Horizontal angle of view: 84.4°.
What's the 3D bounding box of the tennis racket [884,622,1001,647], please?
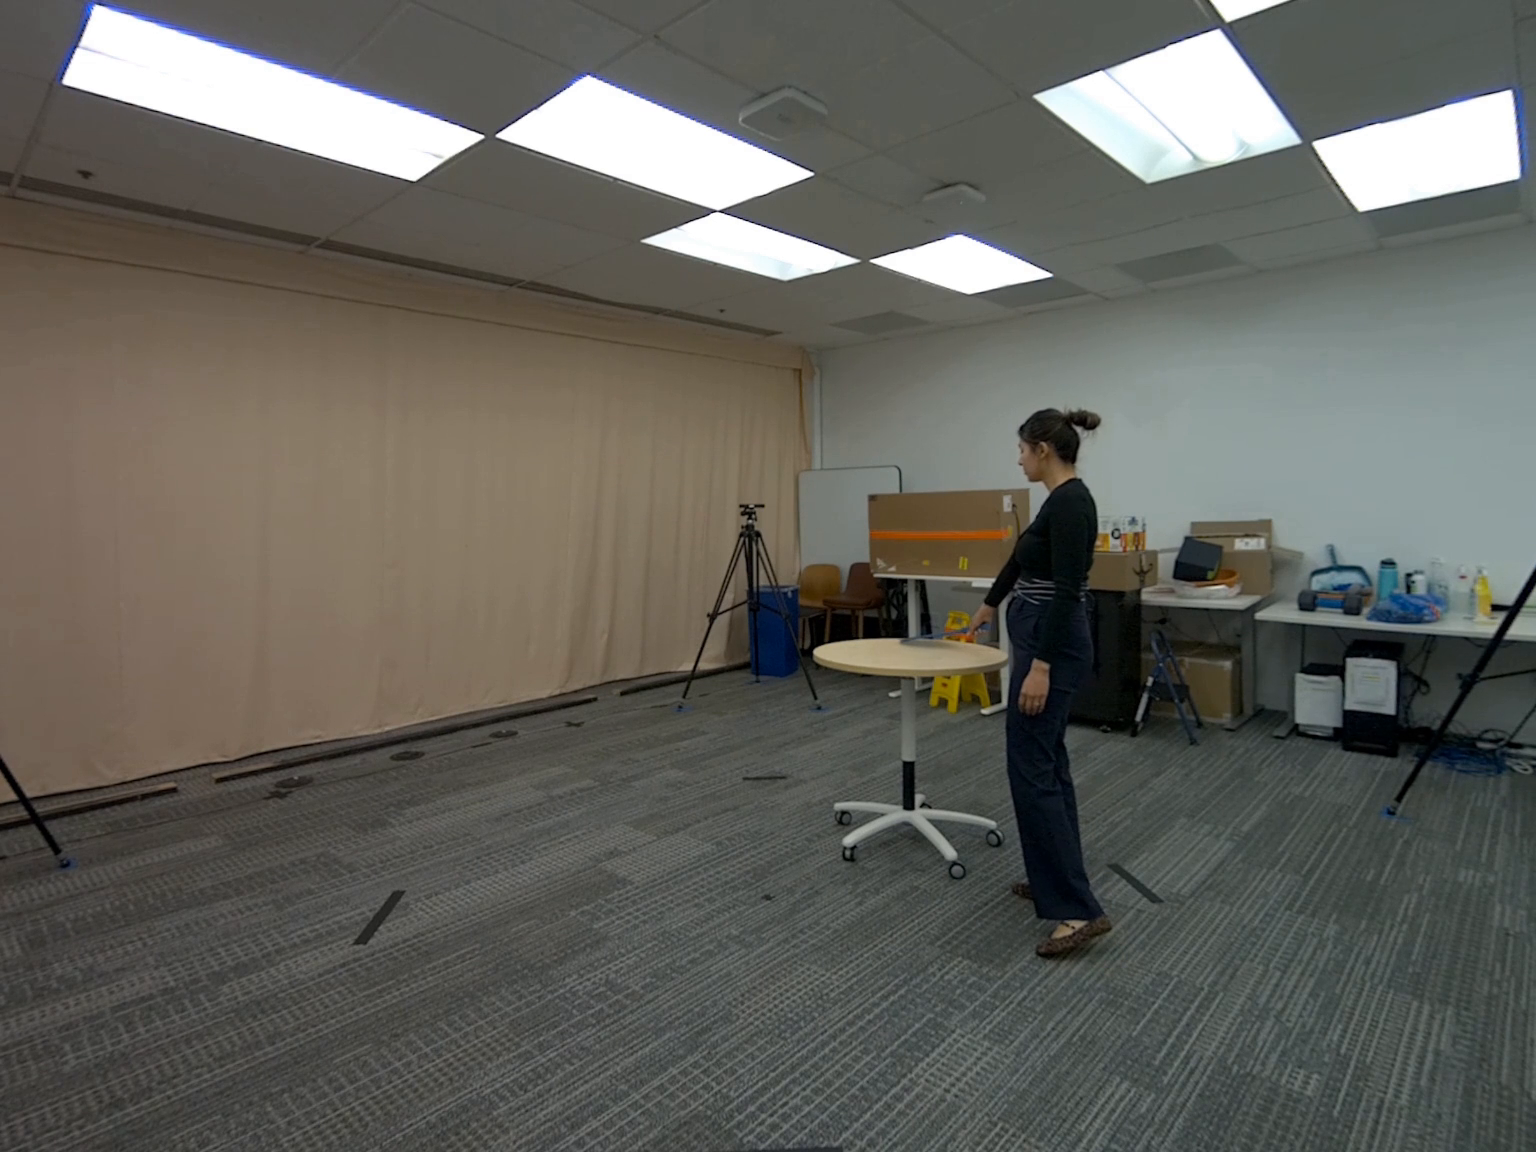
[{"bbox_3d":[0.721,0.245,3.549,0.207,0.032,0.443,-3,-8,-38],"label":"tennis racket"}]
